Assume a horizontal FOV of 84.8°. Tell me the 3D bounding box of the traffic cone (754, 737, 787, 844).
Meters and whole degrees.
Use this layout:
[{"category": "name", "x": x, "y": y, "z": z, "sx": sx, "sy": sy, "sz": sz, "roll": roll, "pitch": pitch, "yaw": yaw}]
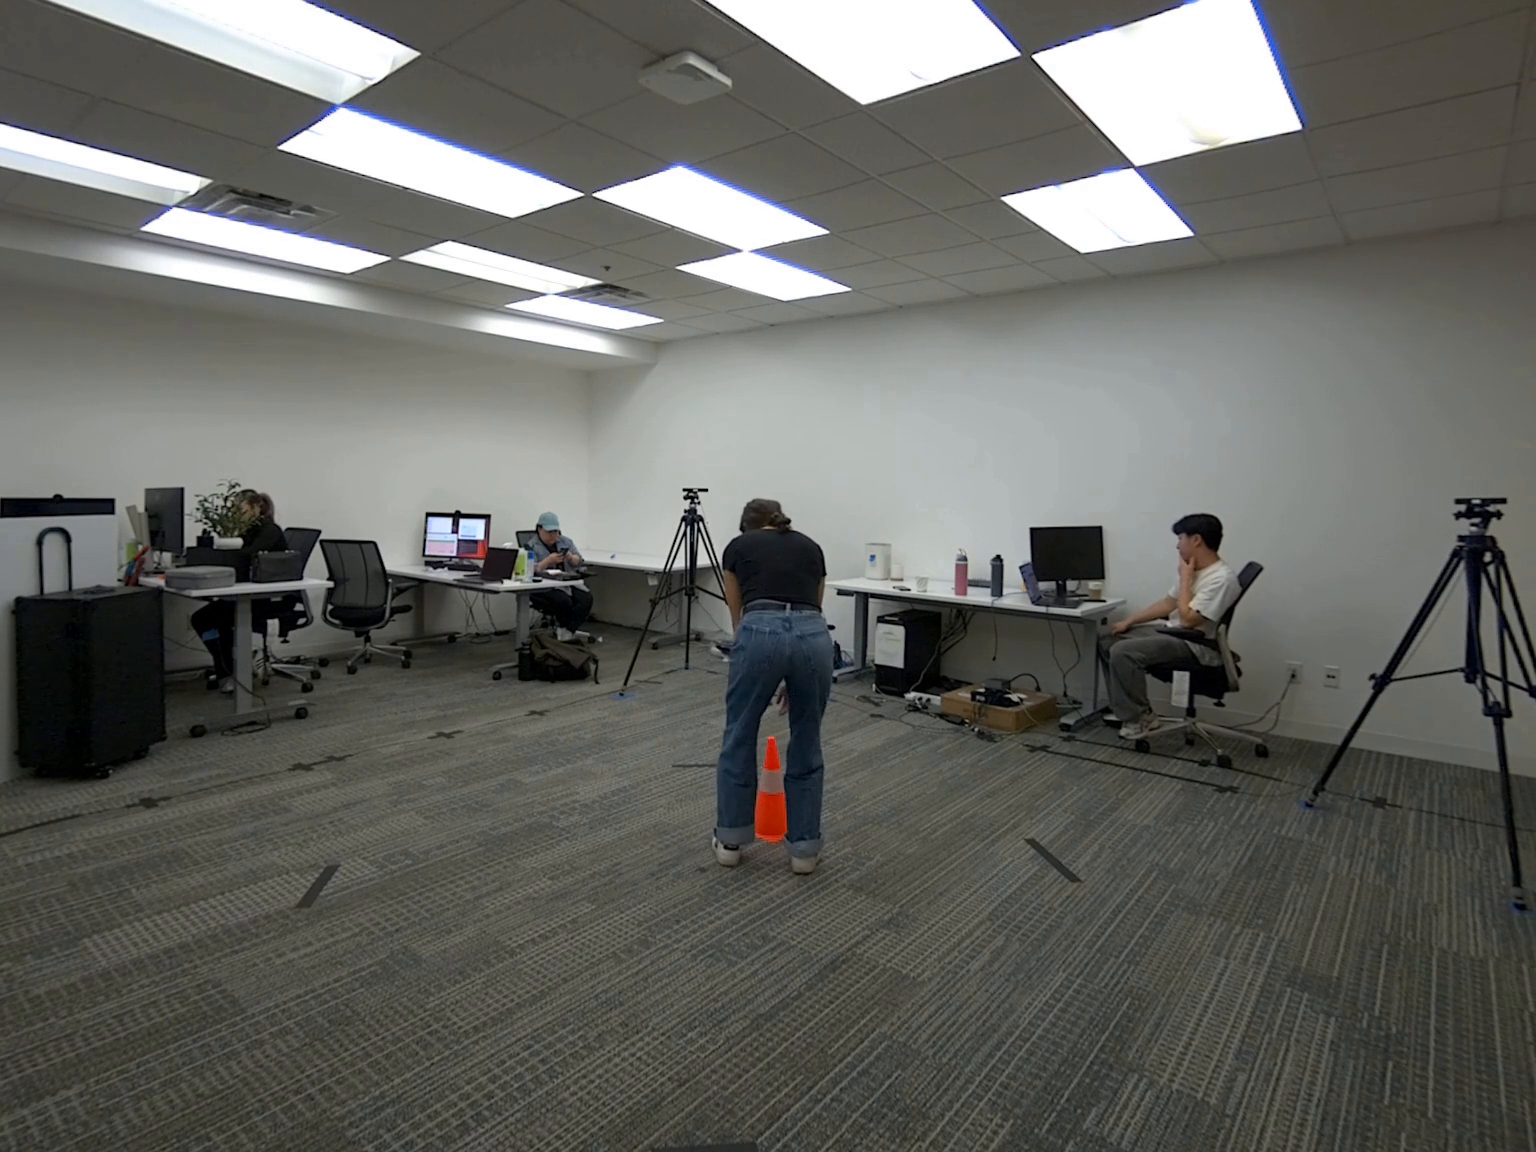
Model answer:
[{"category": "traffic cone", "x": 0.010, "y": 0.841, "z": 3.477, "sx": 0.210, "sy": 0.383, "sz": 0.199, "roll": 3, "pitch": 3, "yaw": 44}]
